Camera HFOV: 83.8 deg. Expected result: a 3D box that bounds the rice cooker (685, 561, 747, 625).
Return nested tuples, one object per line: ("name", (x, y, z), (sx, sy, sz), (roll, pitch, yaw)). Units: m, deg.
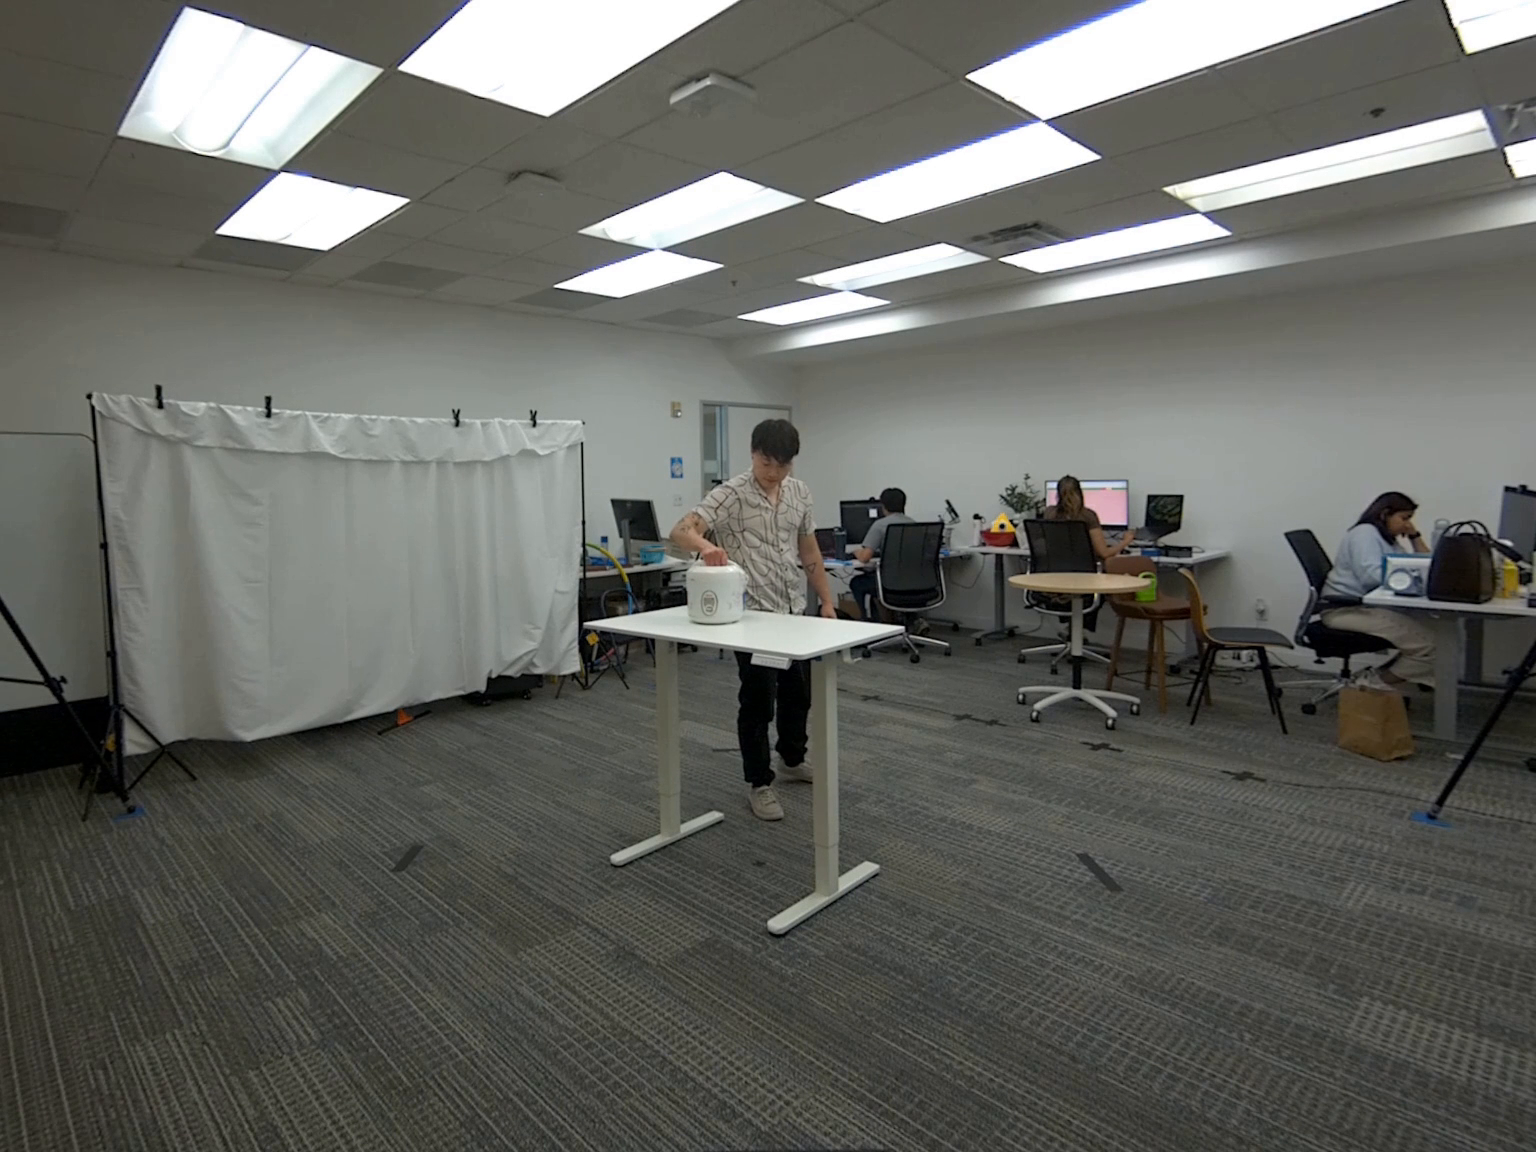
("rice cooker", (-0.190, 0.052, 3.120), (0.223, 0.232, 0.216), (0, 4, 11))
